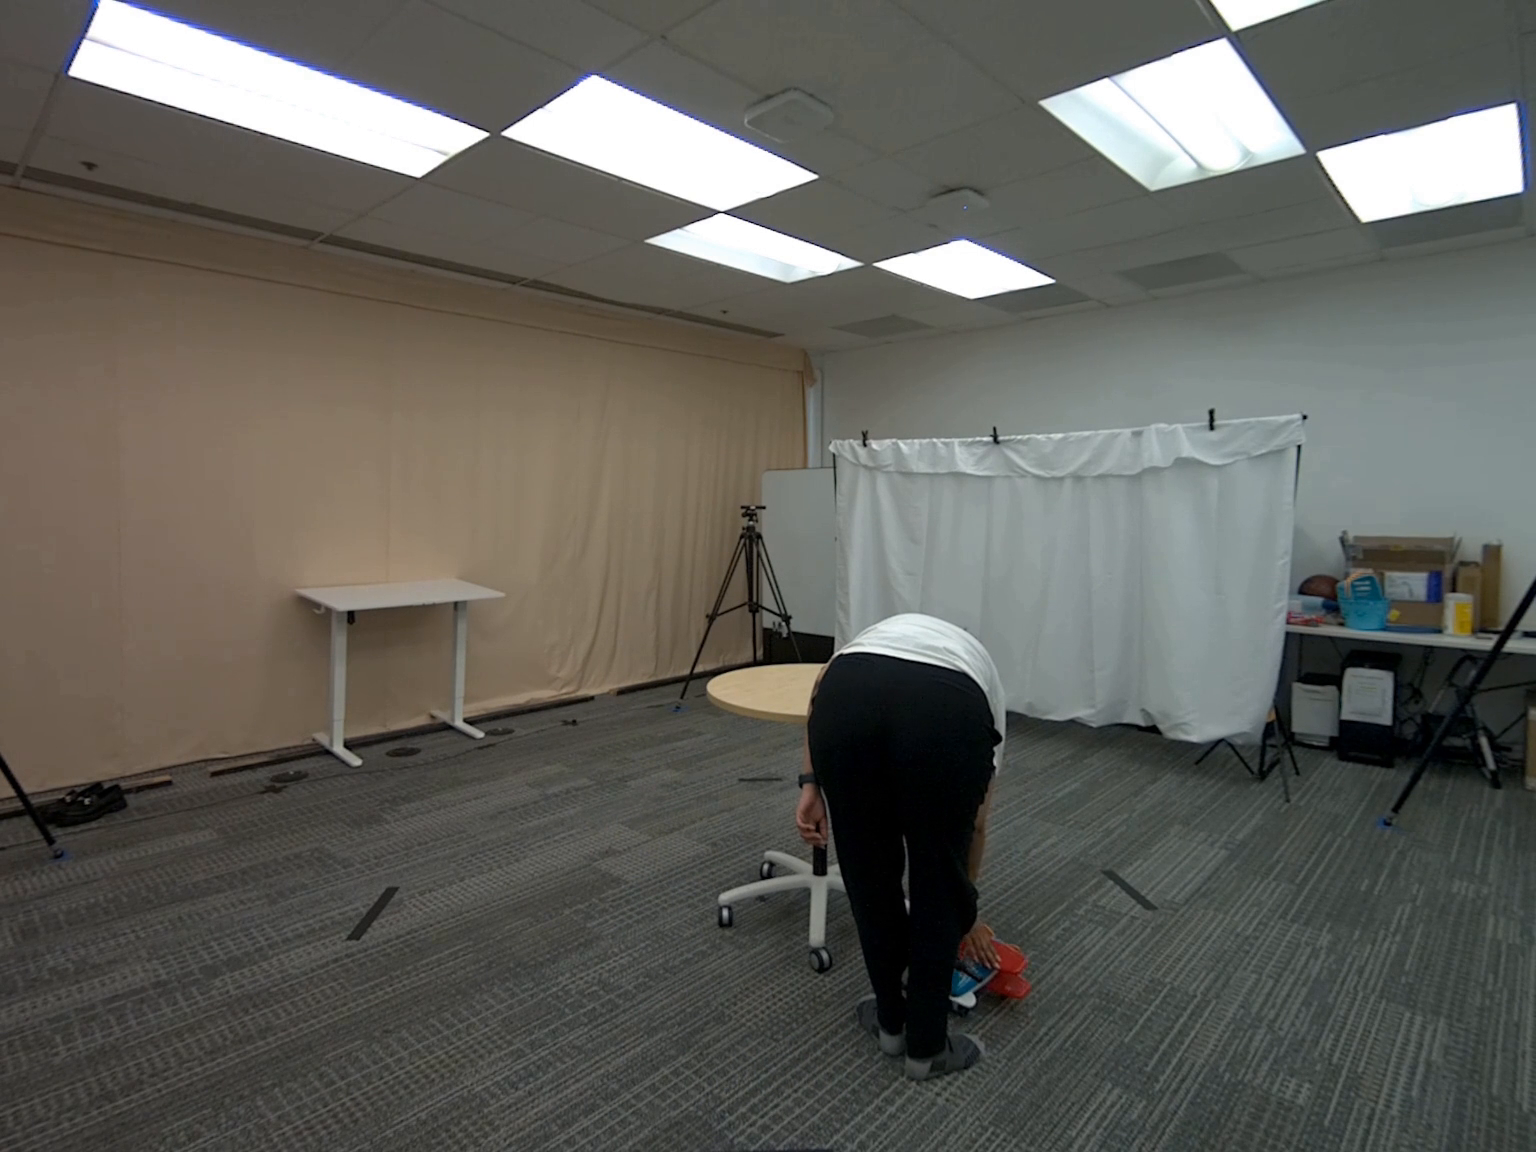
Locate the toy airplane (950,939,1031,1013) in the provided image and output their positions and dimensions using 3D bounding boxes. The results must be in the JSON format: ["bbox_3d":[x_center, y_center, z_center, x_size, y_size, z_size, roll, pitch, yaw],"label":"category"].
[{"bbox_3d":[0.614,1.125,2.354,0.257,0.156,0.254,2,4,20],"label":"toy airplane"}]
